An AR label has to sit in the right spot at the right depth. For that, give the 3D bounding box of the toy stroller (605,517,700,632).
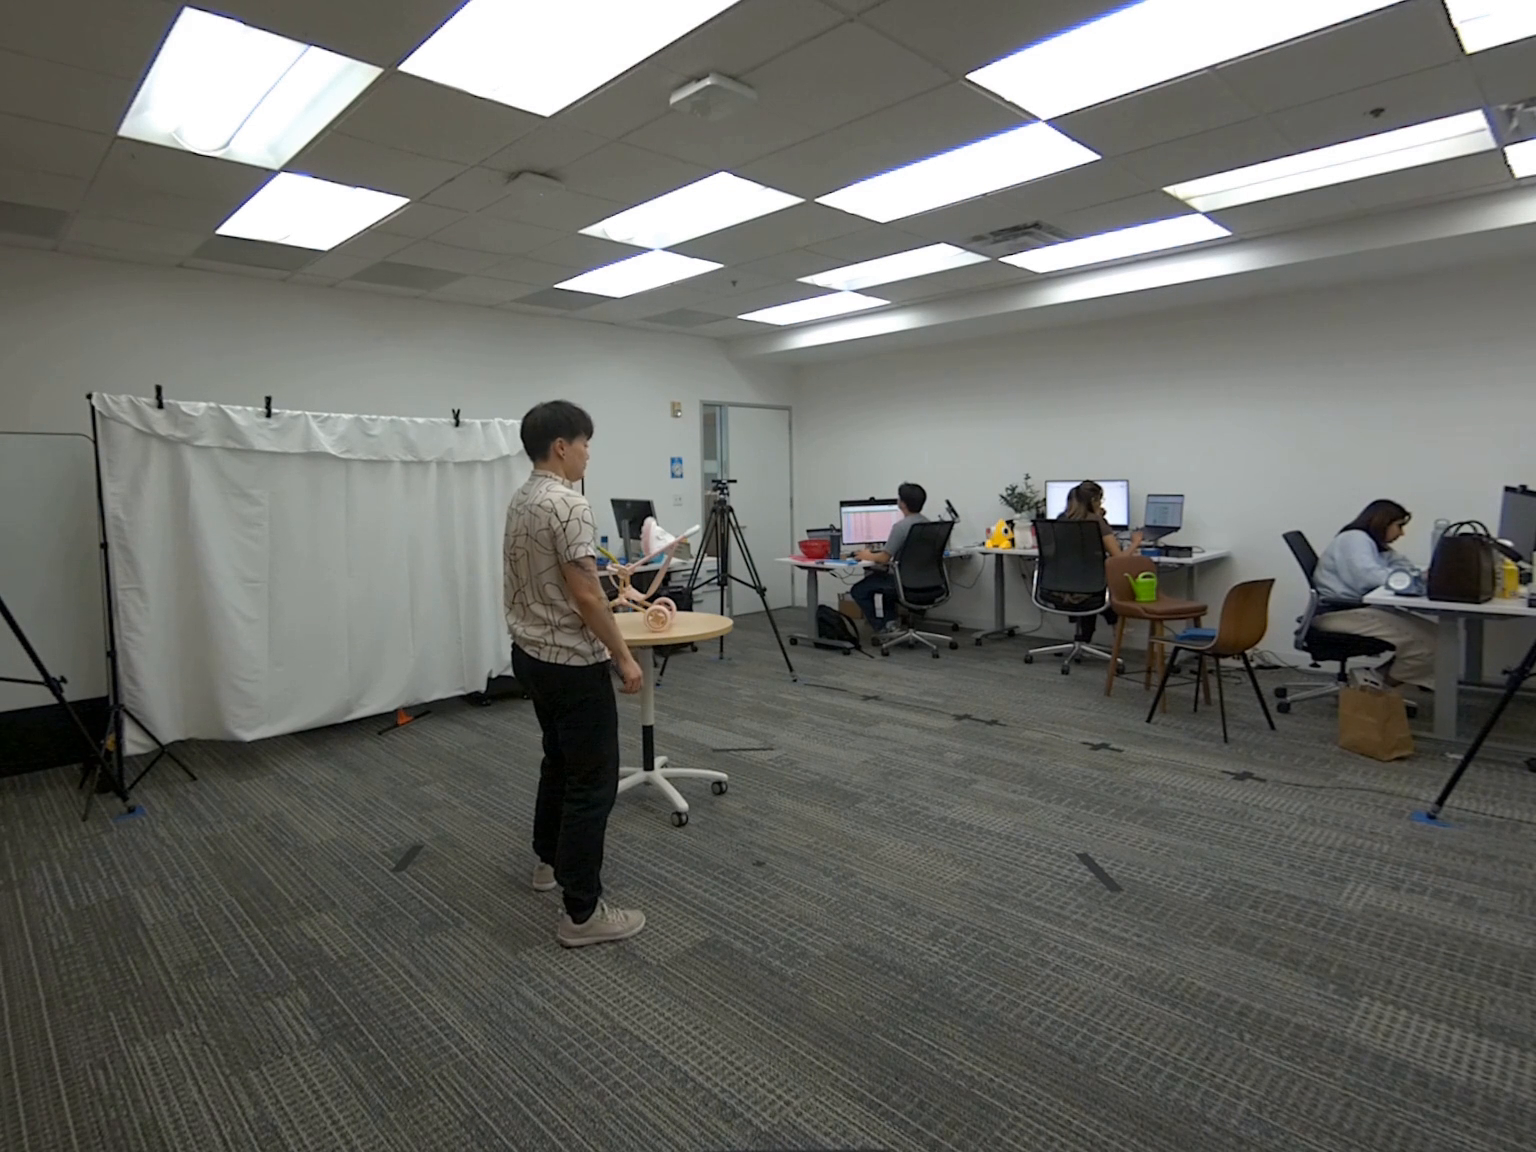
[{"bbox_3d":[-0.519,-0.005,3.595,0.344,0.533,0.280,16,5,5],"label":"toy stroller"}]
